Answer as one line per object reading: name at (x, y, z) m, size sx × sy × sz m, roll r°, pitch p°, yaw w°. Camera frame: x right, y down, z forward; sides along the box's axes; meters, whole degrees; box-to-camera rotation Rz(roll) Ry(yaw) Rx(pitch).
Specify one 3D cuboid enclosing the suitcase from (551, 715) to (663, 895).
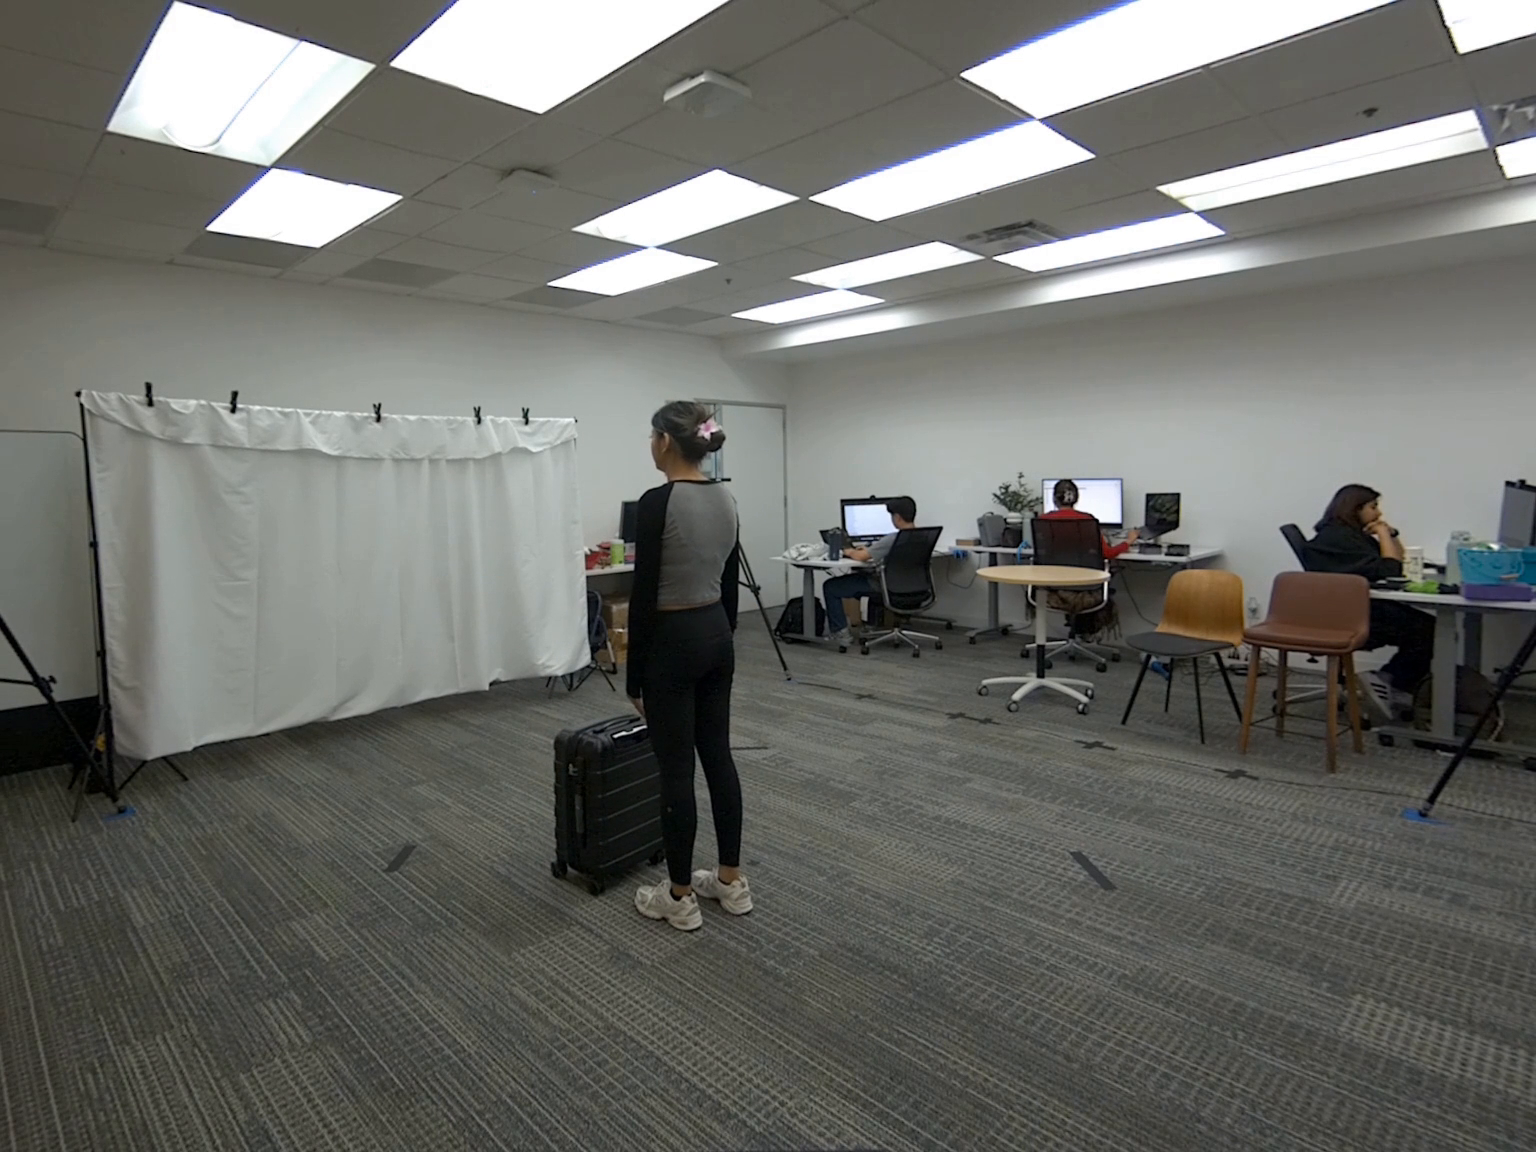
suitcase at (-0.566, 0.781, 3.049) m, size 0.256 × 0.547 × 0.366 m, roll 4°, pitch 7°, yaw 39°
